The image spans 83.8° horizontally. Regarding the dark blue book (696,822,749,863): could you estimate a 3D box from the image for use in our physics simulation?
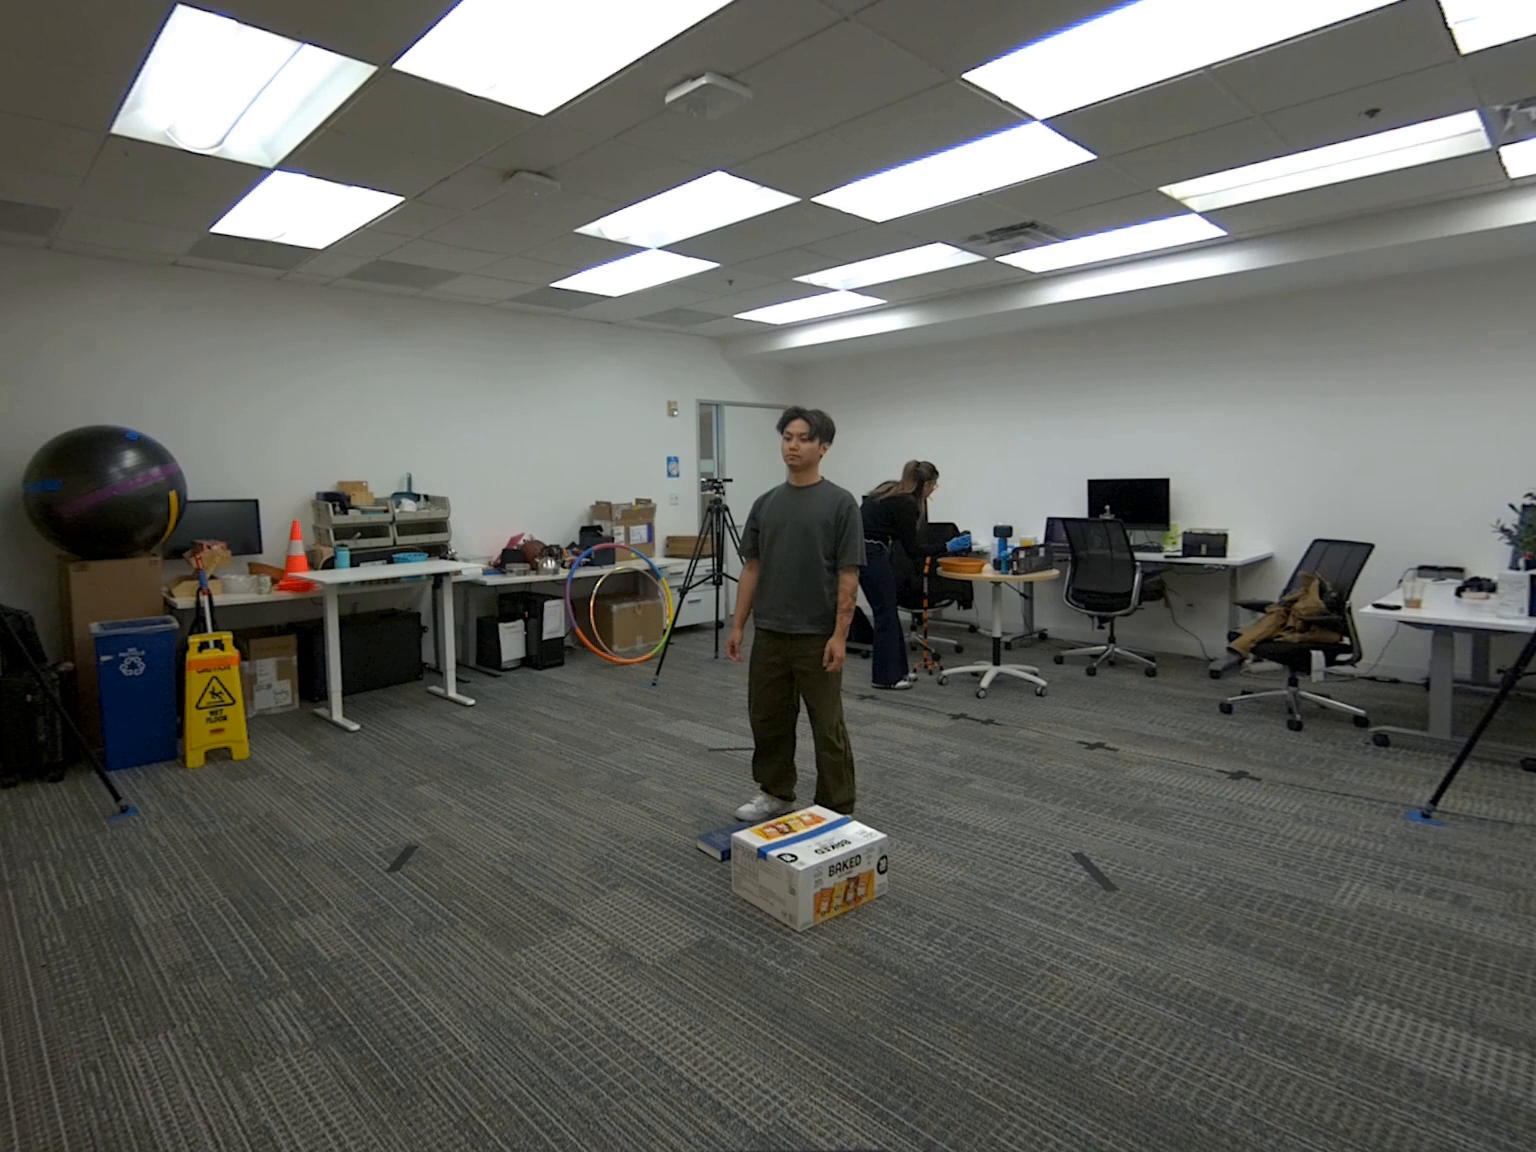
[{"bbox_3d":[-0.129,1.010,3.253,0.239,0.045,0.168,-6,8,-38],"label":"dark blue book"}]
